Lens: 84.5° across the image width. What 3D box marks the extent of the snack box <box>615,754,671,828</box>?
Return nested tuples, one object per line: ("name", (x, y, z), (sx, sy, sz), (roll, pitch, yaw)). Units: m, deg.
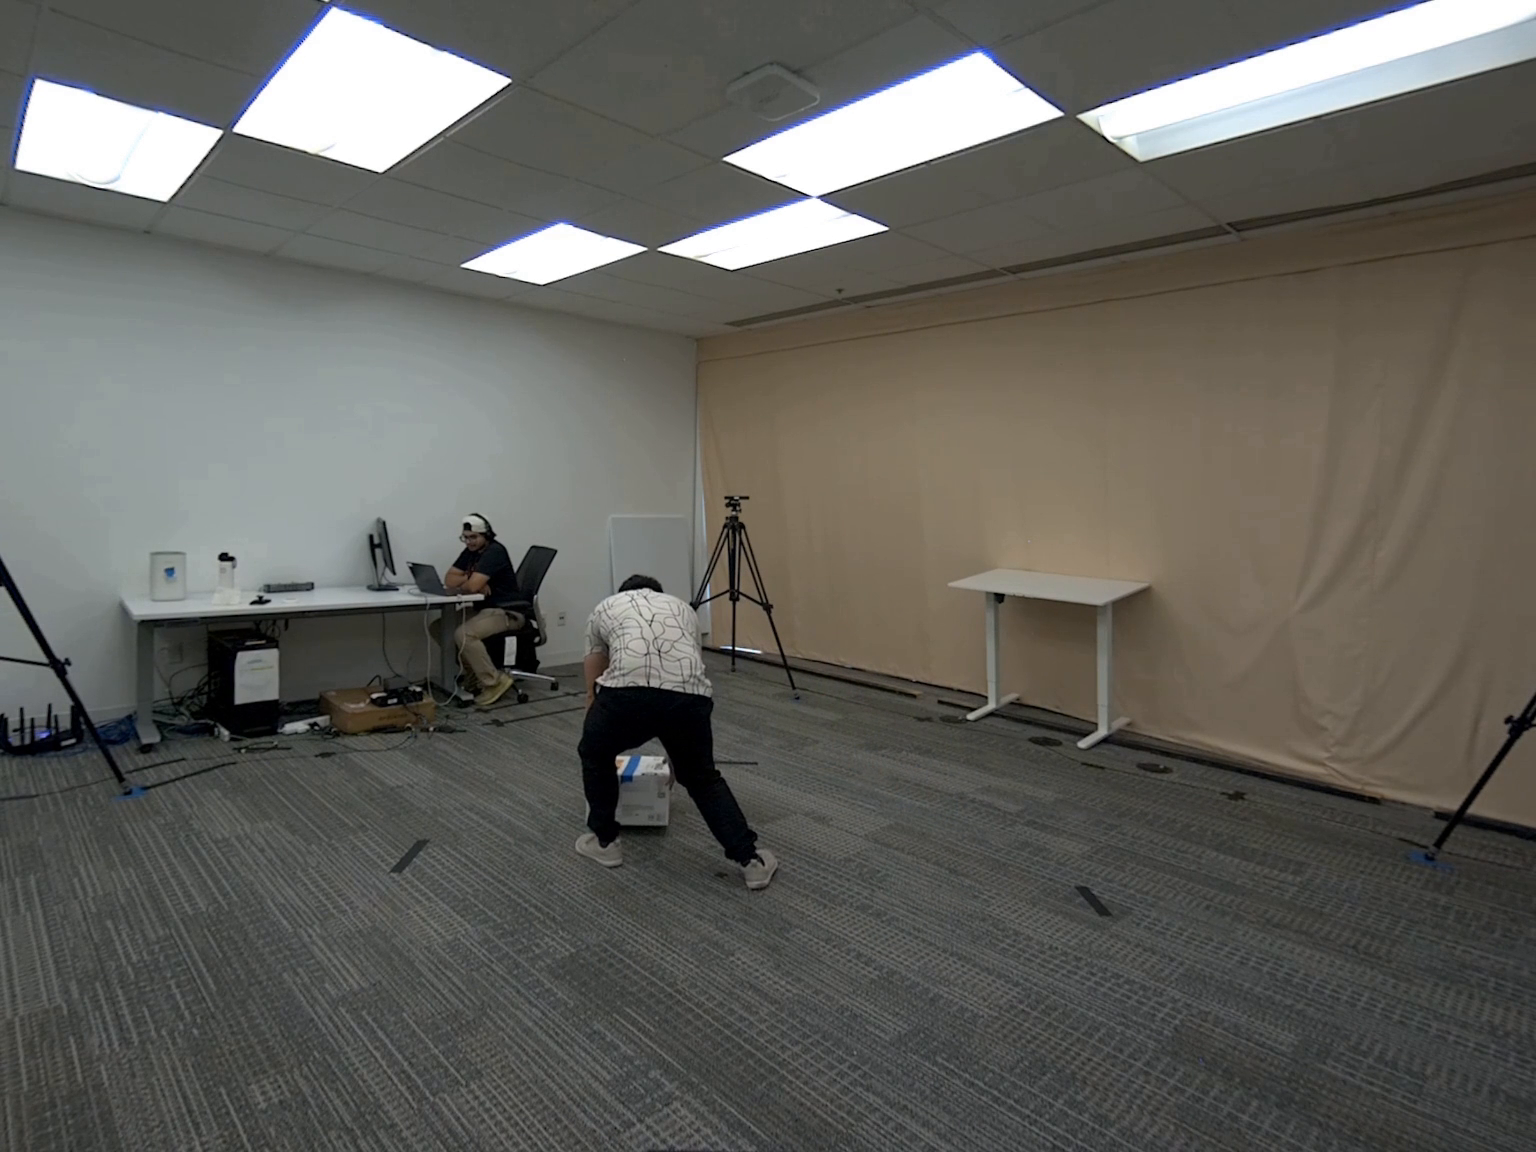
("snack box", (-0.594, 0.925, 3.646), (0.340, 0.206, 0.405), (0, -1, -2))
